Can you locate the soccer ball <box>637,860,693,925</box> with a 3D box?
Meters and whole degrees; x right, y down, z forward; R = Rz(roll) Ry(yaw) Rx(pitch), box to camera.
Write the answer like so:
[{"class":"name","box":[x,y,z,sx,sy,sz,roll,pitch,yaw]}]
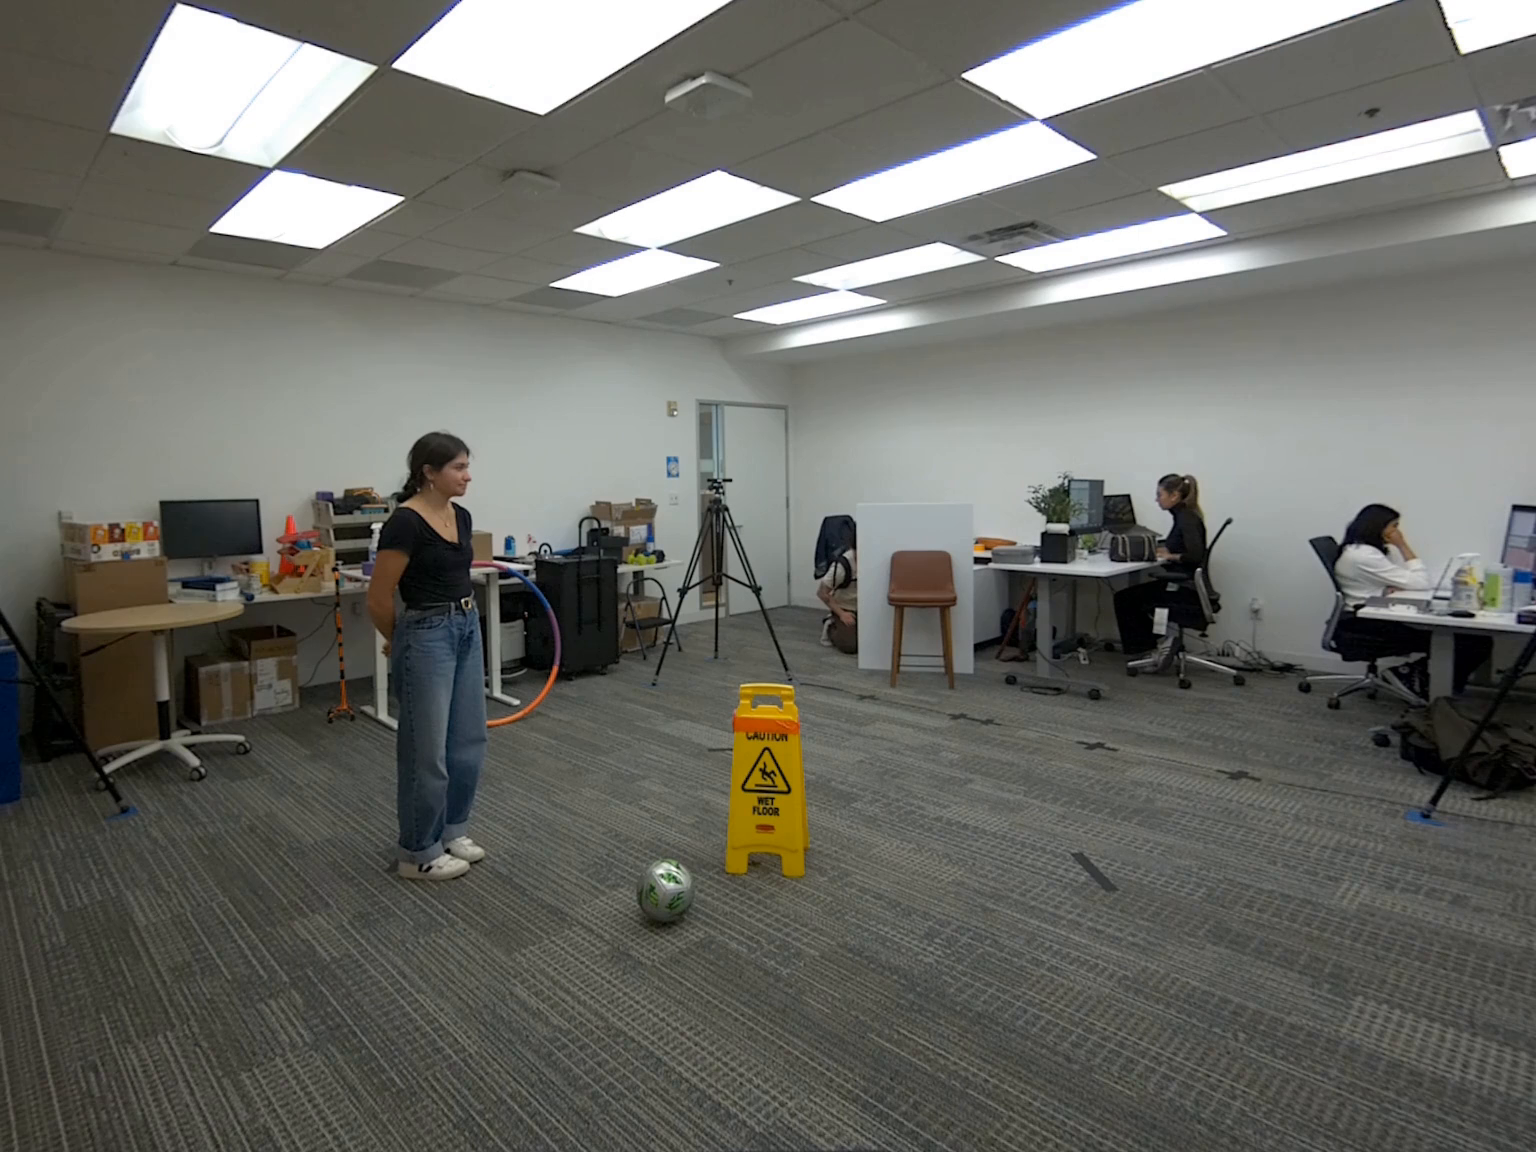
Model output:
[{"class":"soccer ball","box":[-0.321,0.999,2.727,0.187,0.187,0.188,-1,5,-2]}]
